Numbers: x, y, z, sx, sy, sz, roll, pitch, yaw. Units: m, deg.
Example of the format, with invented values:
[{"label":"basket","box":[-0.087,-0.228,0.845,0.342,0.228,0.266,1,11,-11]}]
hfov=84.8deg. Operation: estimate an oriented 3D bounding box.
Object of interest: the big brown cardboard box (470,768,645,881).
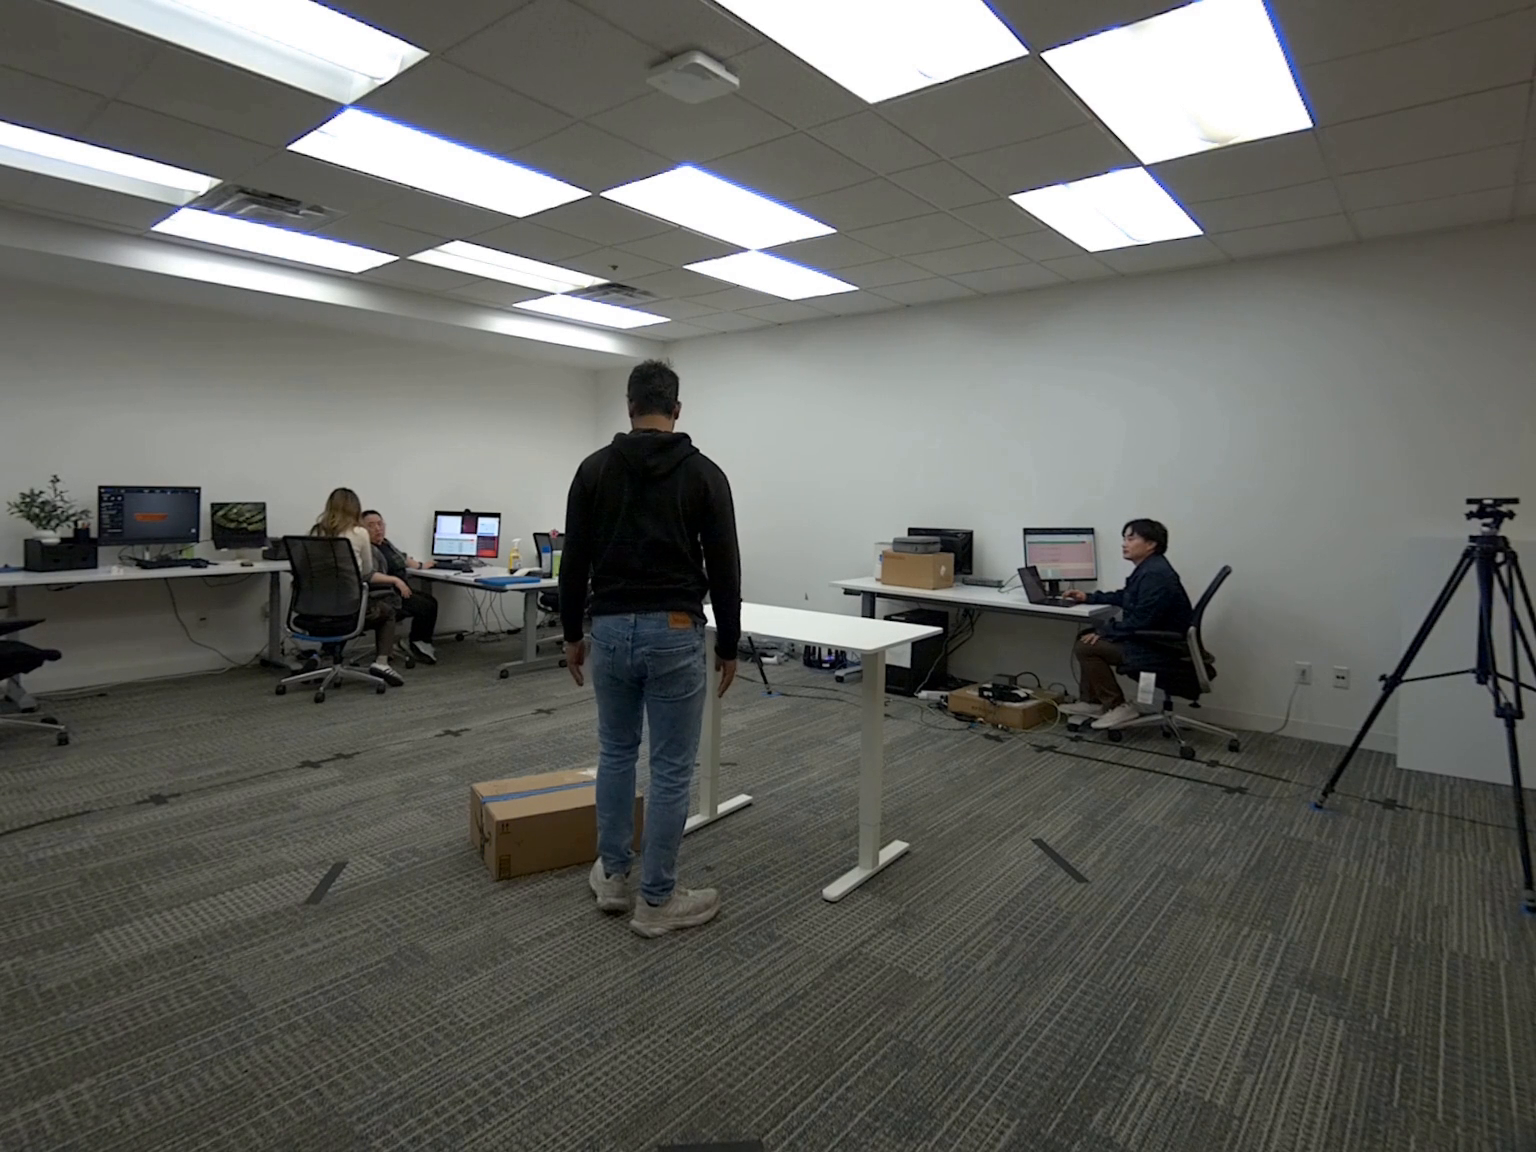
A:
[{"label":"big brown cardboard box","box":[-0.829,0.928,3.283,0.573,0.232,0.430,-3,6,-31]}]
